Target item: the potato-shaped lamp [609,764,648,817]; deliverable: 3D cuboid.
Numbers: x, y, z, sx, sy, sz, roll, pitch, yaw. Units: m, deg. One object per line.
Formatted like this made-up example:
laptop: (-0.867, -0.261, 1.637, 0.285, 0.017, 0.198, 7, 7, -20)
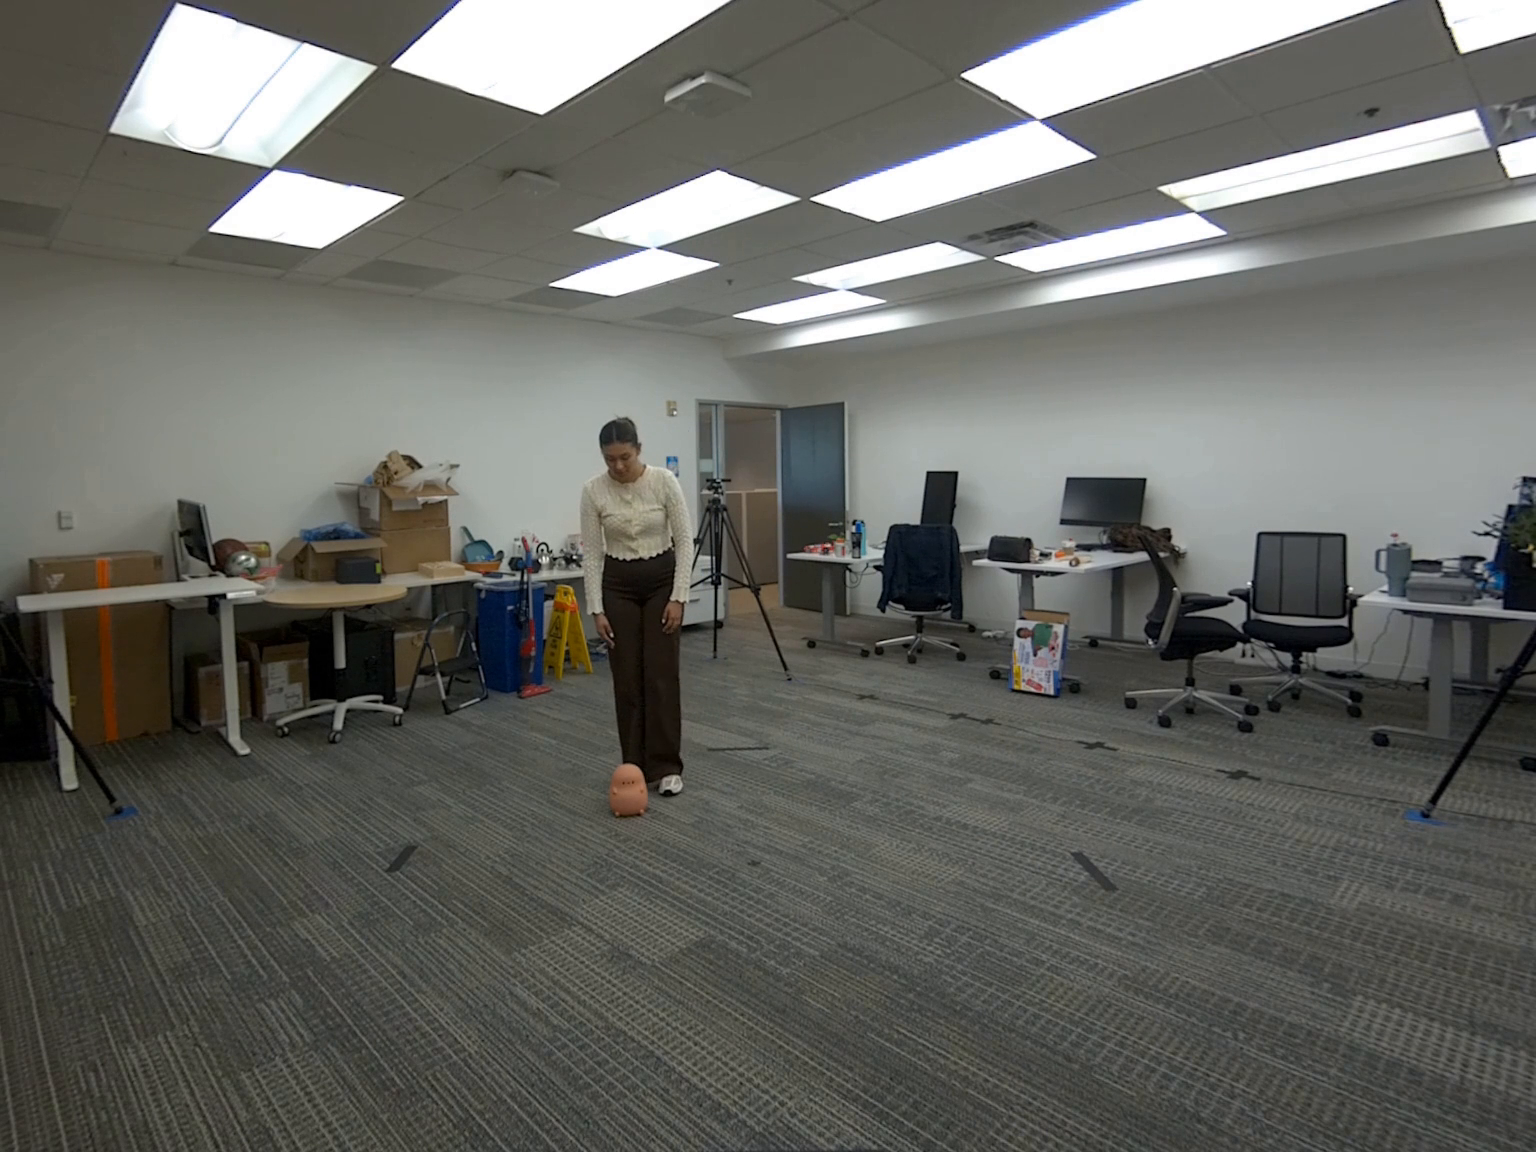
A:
potato-shaped lamp: (-0.592, 0.900, 3.616, 0.164, 0.197, 0.173, 0, 4, -7)
